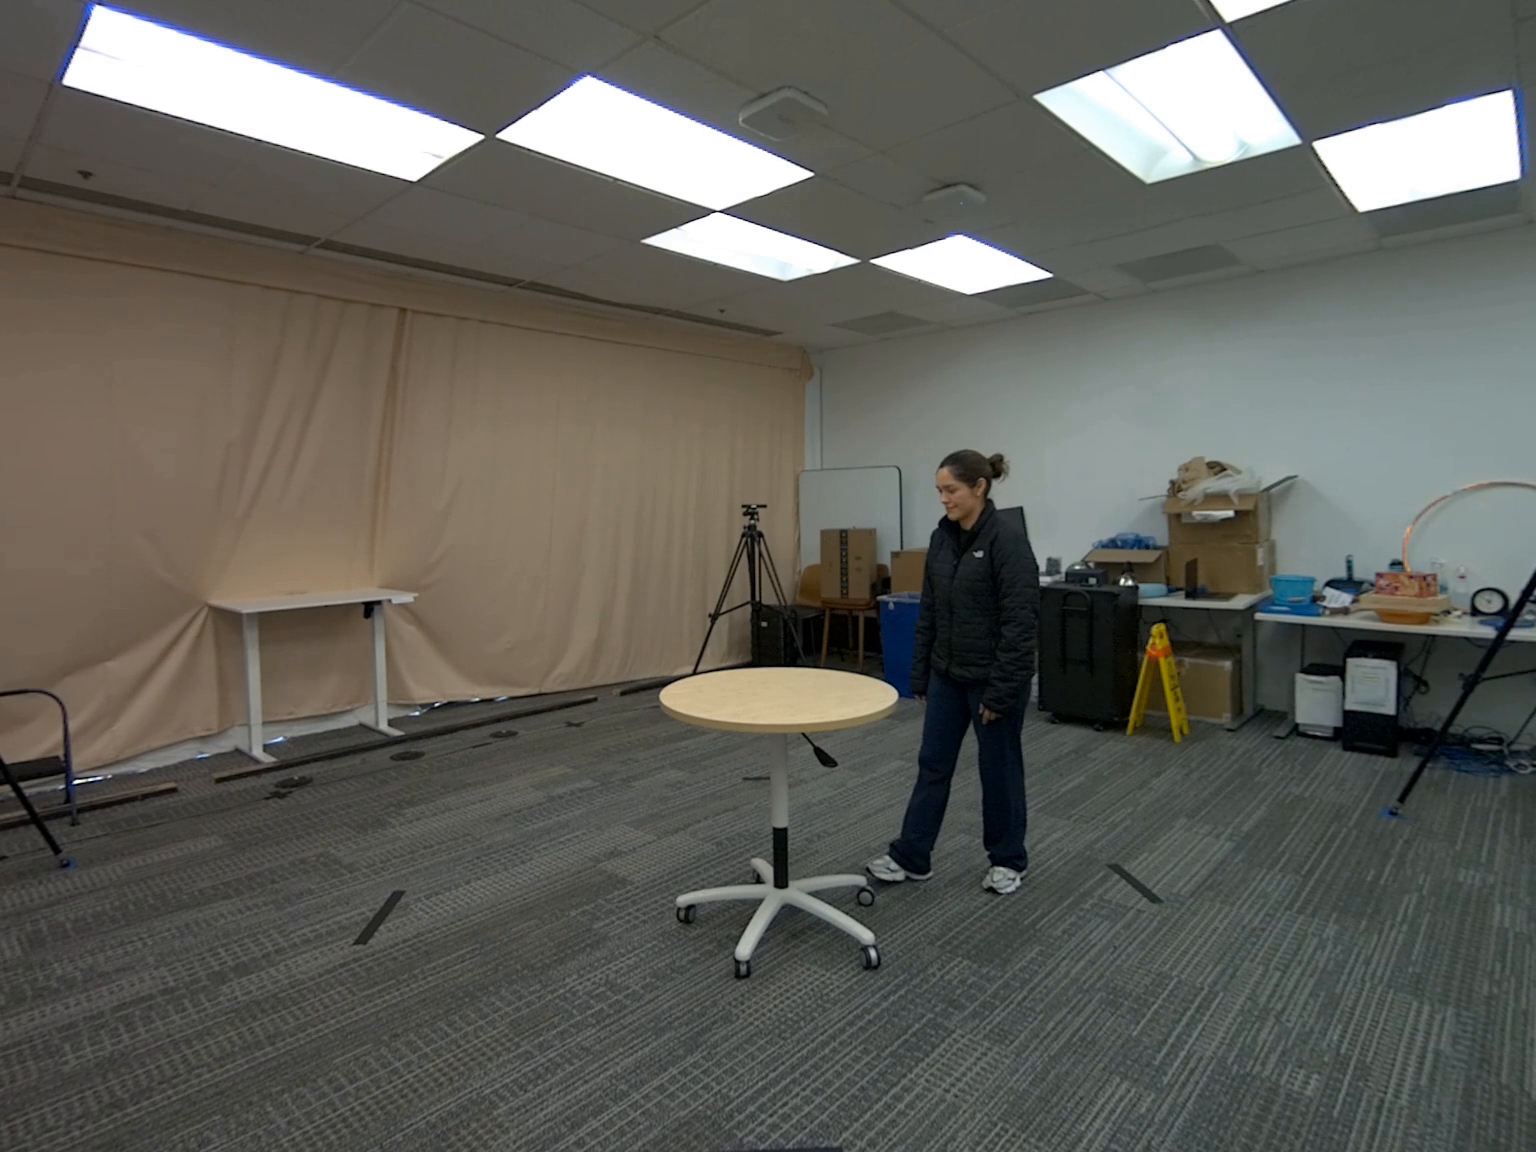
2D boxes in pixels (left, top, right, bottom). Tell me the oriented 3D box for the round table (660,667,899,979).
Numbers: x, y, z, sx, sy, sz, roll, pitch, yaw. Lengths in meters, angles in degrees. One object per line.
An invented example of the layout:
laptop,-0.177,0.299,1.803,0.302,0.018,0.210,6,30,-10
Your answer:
round table,0.074,0.767,2.753,0.784,0.784,0.788,-1,5,-2
